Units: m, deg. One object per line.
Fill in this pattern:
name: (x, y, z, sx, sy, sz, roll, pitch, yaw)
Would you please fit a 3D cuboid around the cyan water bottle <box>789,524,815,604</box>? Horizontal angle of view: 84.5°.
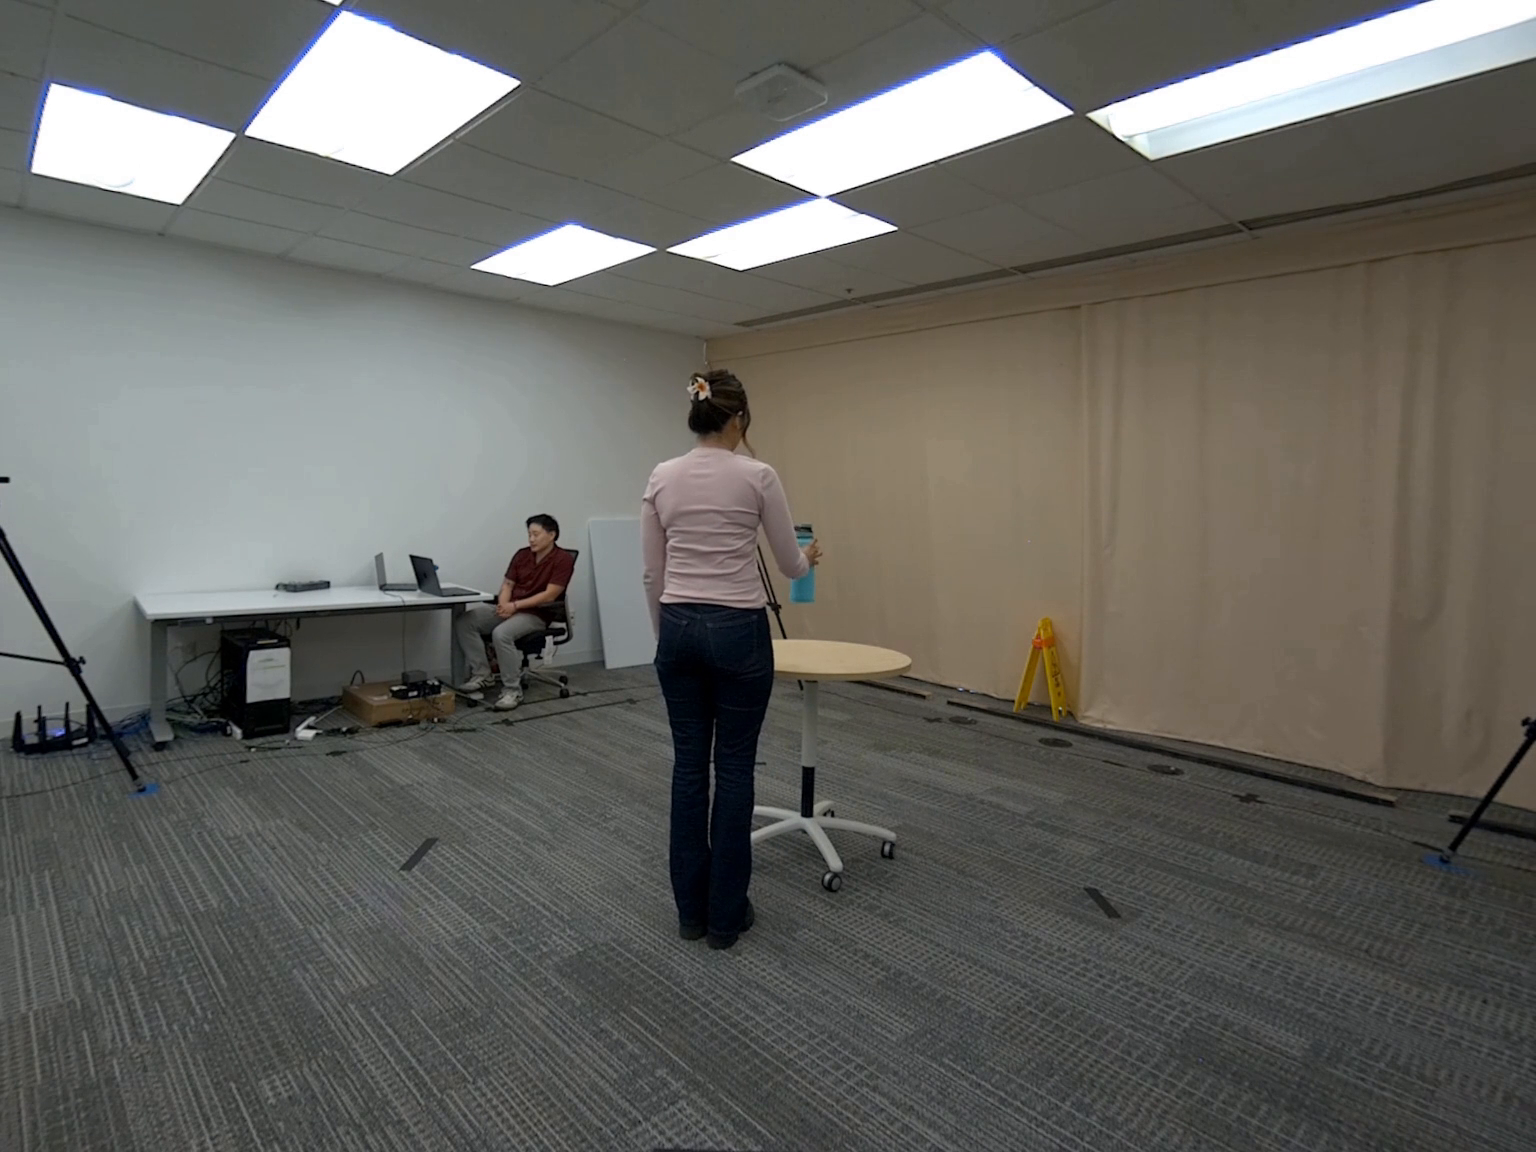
cyan water bottle: (0.109, -0.046, 3.020, 0.092, 0.283, 0.092, -4, 3, -1)
